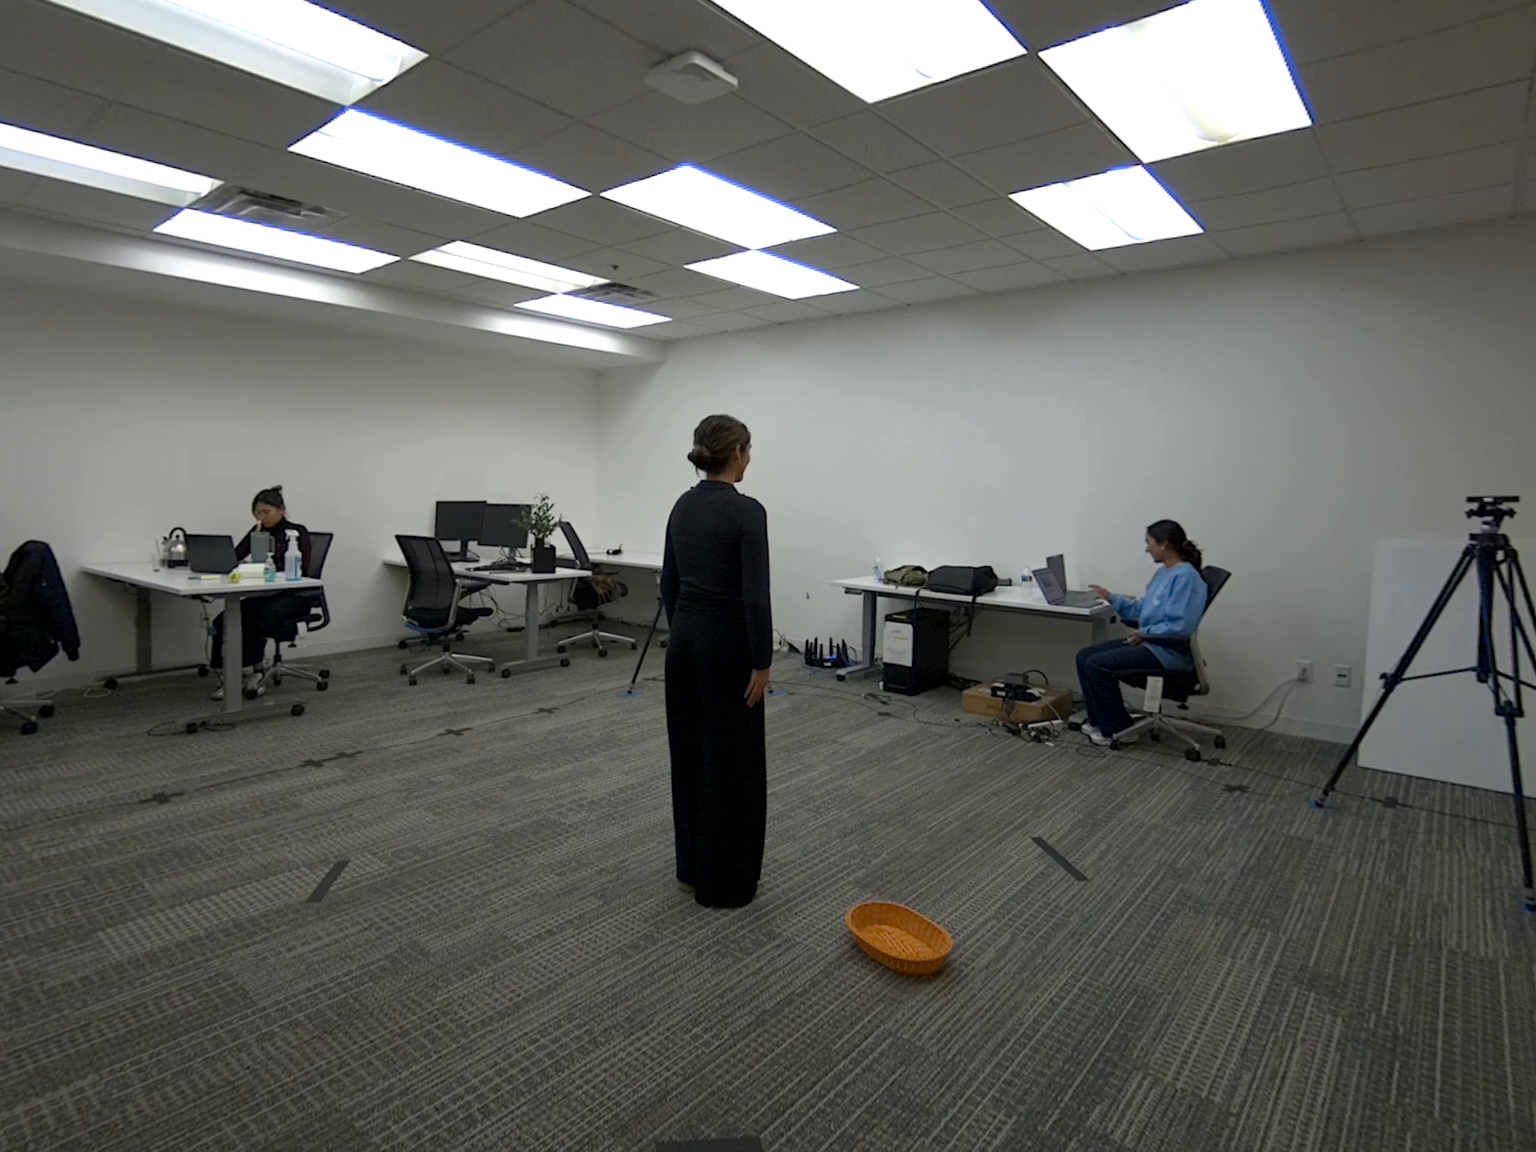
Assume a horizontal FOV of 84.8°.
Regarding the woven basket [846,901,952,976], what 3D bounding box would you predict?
[{"bbox_3d":[0.384,1.088,2.574,0.246,0.073,0.361,-3,7,-29],"label":"woven basket"}]
